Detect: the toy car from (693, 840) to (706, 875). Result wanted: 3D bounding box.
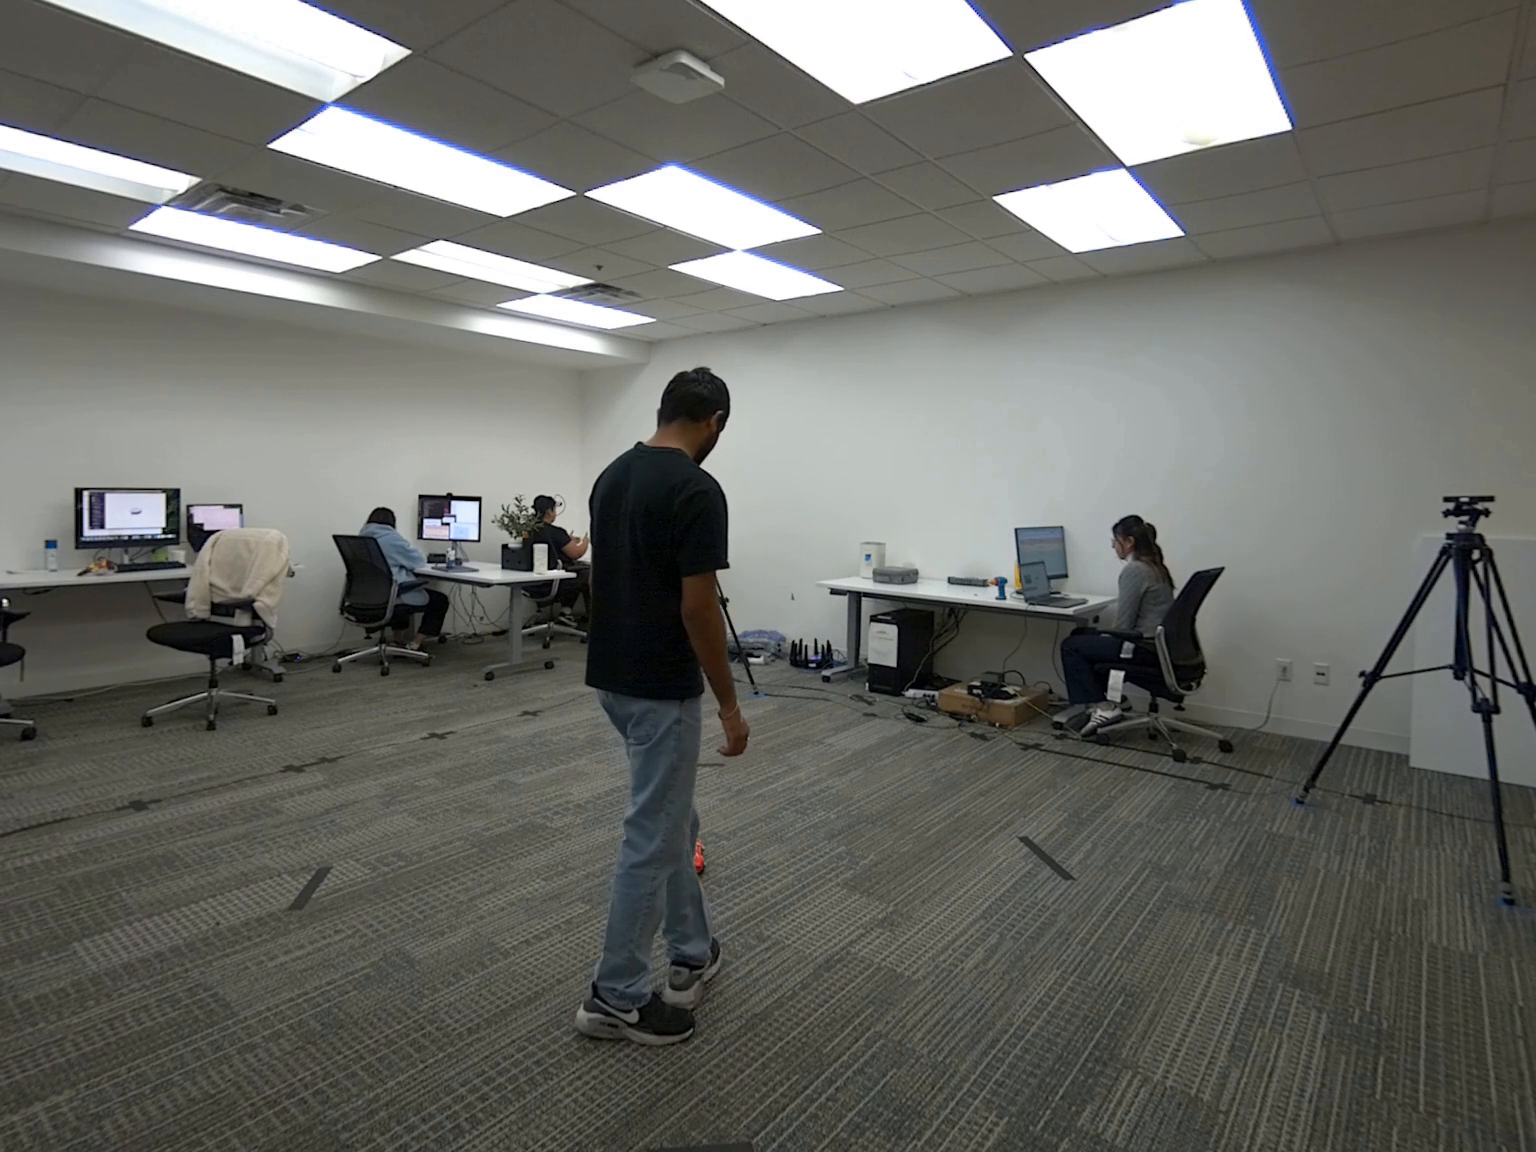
[{"bbox_3d":[-0.297,1.030,3.130,0.130,0.084,0.254,1,-6,-5],"label":"toy car"}]
